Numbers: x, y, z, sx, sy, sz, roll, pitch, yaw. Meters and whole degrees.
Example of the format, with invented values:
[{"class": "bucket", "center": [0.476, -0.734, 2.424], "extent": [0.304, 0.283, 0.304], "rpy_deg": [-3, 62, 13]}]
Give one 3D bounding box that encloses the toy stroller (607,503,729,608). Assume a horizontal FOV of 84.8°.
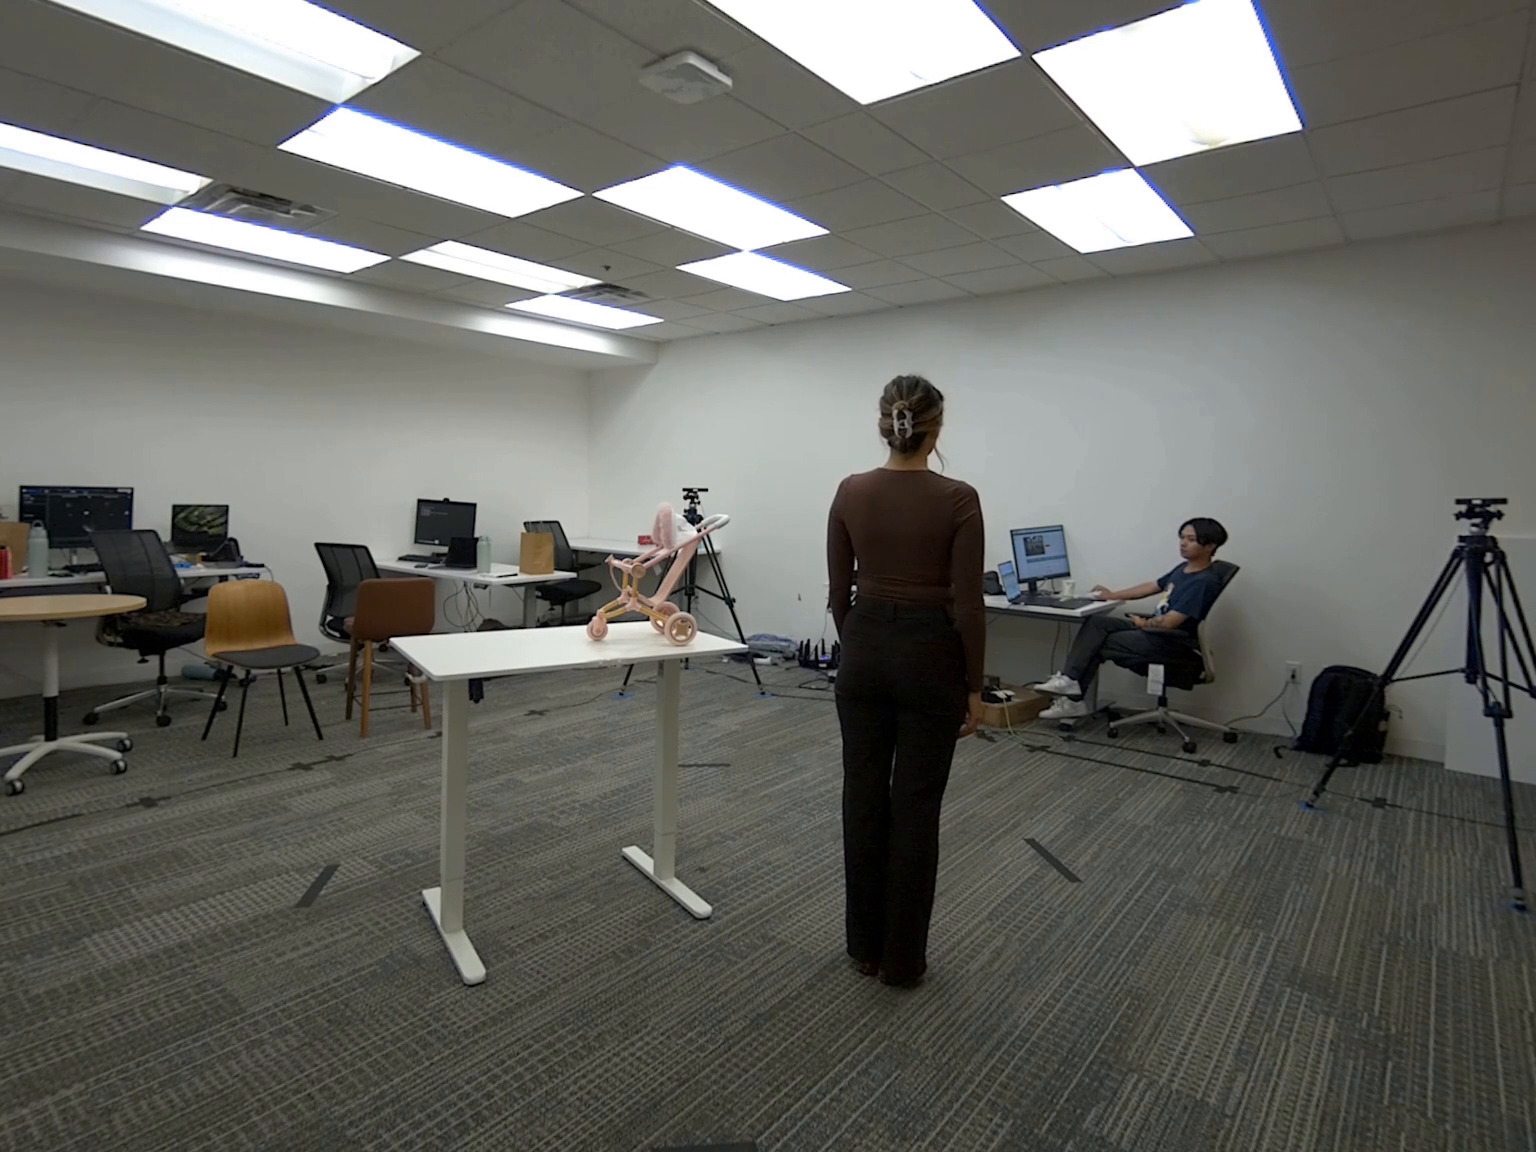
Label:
[{"class": "toy stroller", "center": [-0.388, -0.009, 2.843], "extent": [0.336, 0.535, 0.286], "rpy_deg": [19, -1, -13]}]
